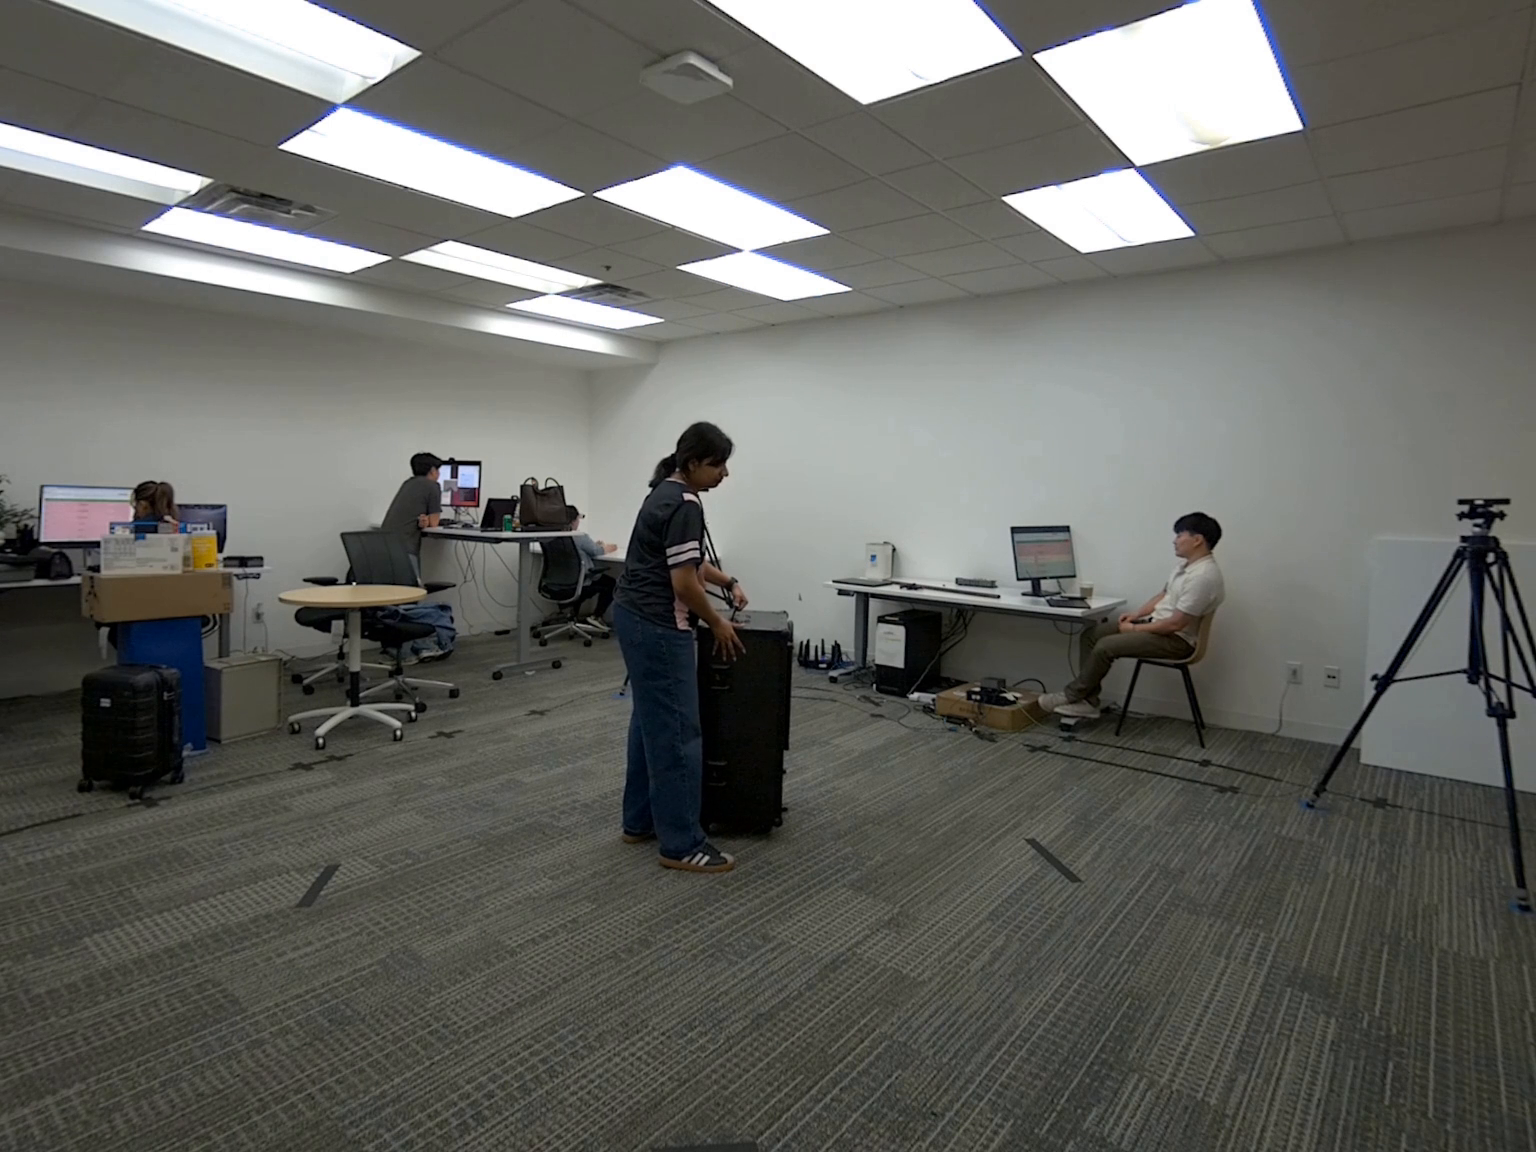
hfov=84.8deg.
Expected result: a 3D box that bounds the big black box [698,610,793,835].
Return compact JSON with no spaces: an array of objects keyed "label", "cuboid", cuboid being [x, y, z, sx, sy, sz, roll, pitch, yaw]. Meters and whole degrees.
[{"label":"big black box","cuboid":[-0.109,0.599,3.581,0.386,0.865,0.525,2,5,1]}]
